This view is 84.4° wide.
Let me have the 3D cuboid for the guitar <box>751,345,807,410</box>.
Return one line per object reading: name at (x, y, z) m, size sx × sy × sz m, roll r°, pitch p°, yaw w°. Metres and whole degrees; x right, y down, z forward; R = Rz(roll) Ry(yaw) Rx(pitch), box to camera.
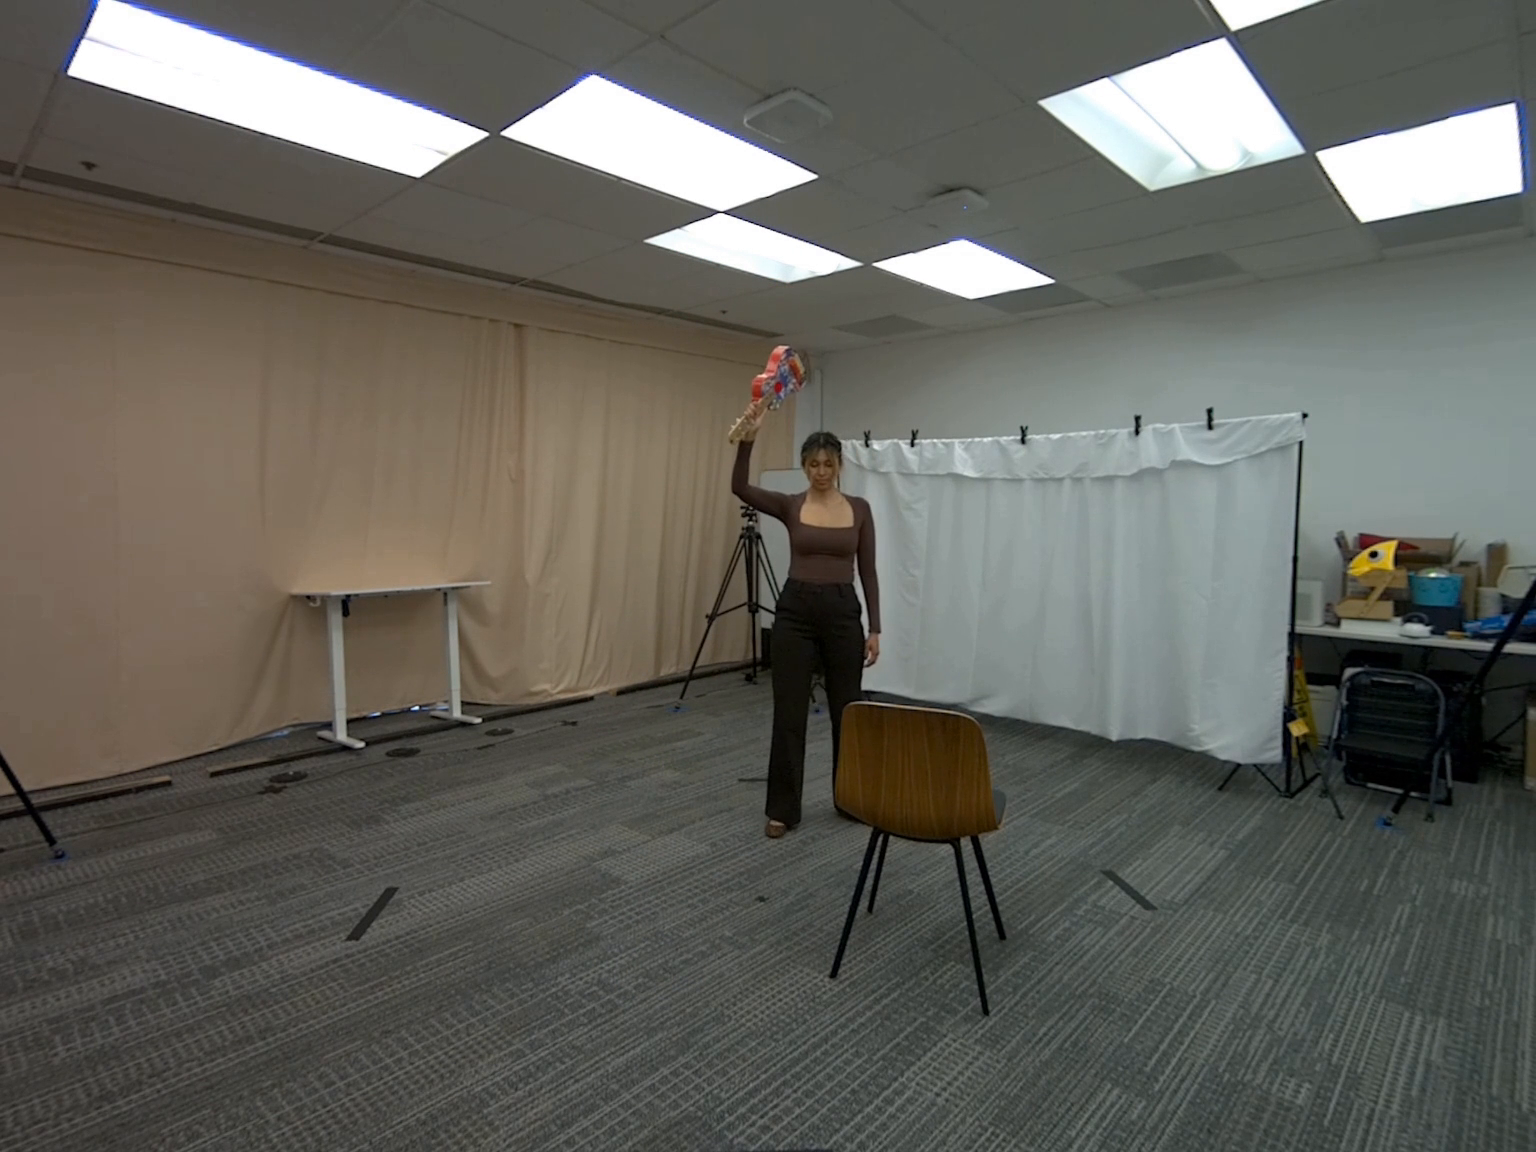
guitar at (-0.026, -0.729, 3.375) m, size 0.073 × 0.187 × 0.494 m, roll 16°, pitch 52°, yaw 43°
